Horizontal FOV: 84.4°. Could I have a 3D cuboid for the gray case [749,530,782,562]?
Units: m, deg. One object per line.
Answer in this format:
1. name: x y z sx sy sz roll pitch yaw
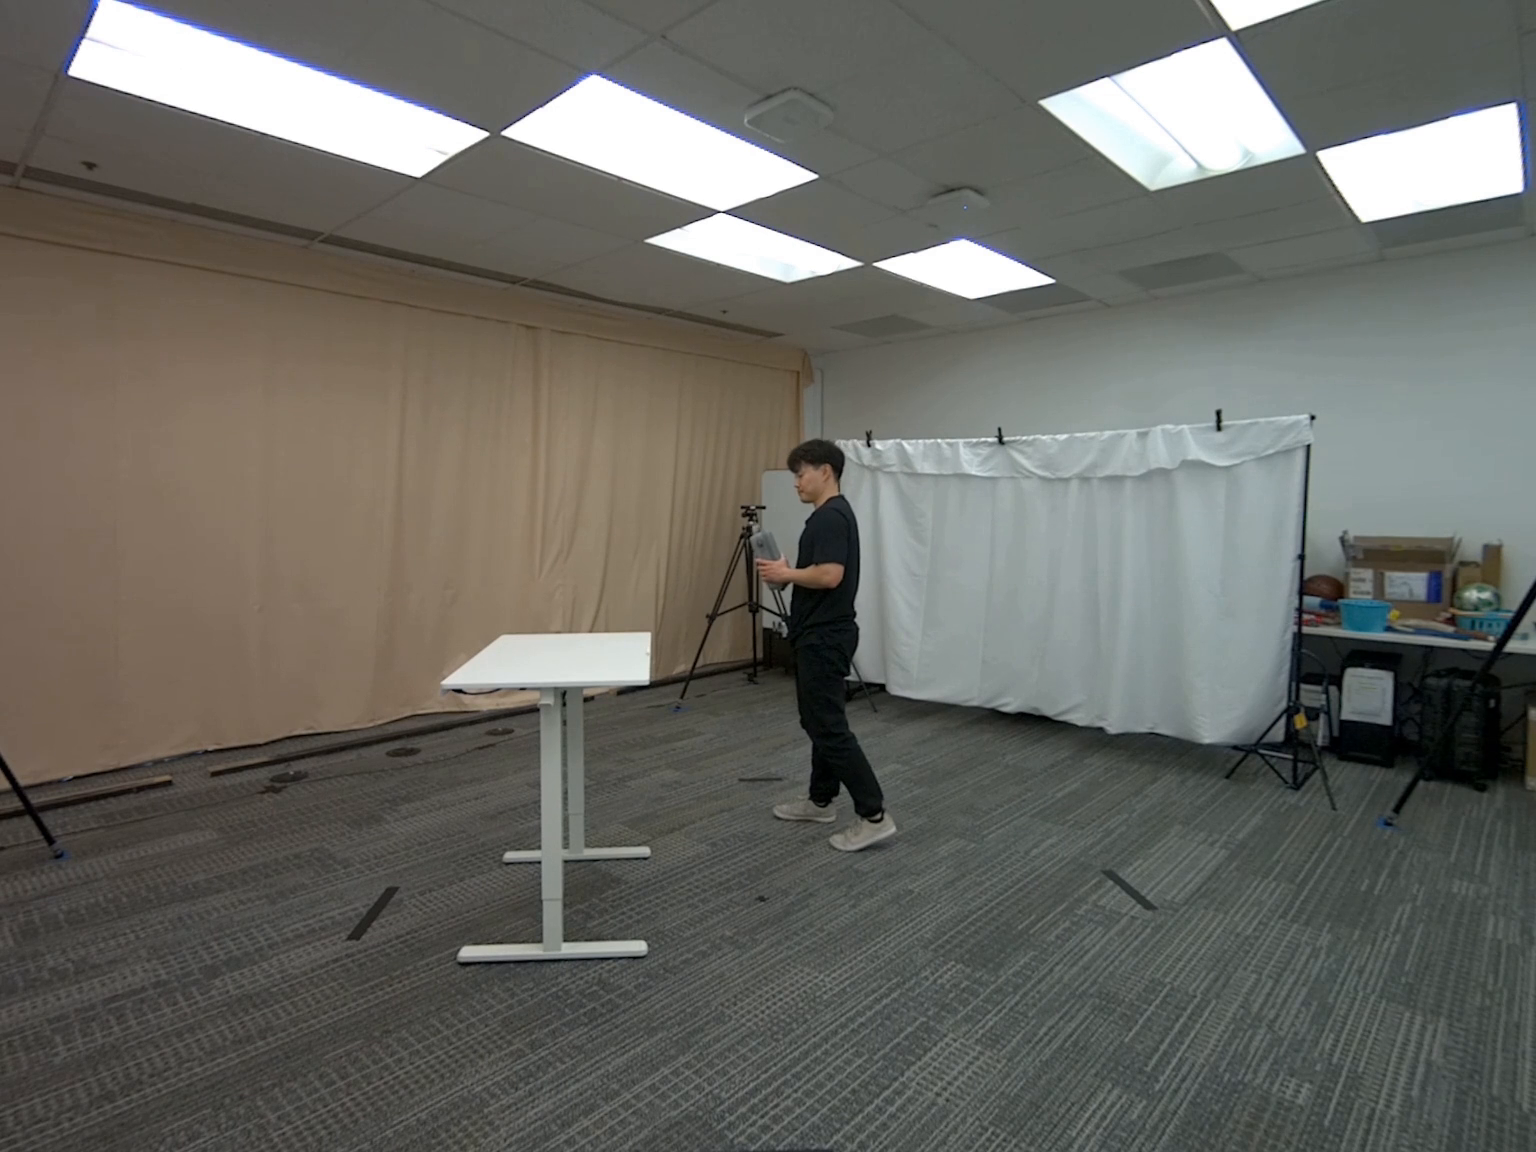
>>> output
1. gray case: 0.016 -0.068 3.649 0.104 0.262 0.256 -22 -3 -1
